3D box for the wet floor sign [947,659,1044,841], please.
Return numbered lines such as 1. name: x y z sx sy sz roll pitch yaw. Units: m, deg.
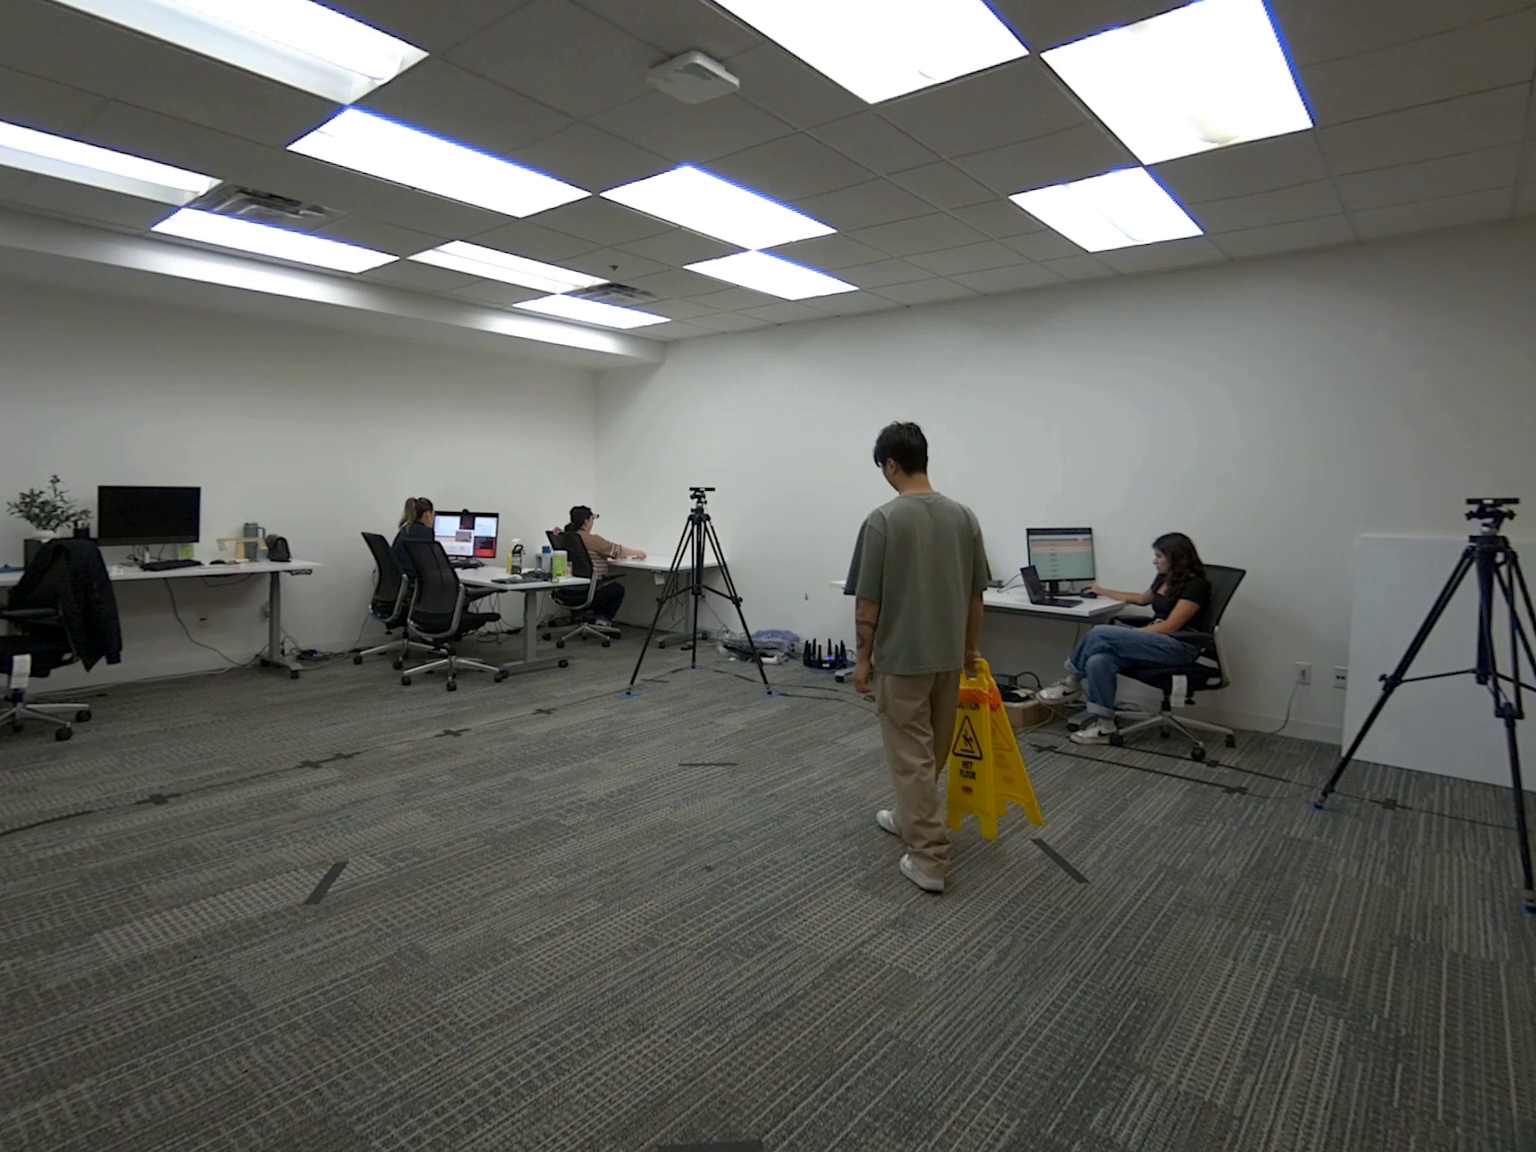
1. wet floor sign: 0.825 0.651 3.318 0.284 0.651 0.286 -7 -6 -23
